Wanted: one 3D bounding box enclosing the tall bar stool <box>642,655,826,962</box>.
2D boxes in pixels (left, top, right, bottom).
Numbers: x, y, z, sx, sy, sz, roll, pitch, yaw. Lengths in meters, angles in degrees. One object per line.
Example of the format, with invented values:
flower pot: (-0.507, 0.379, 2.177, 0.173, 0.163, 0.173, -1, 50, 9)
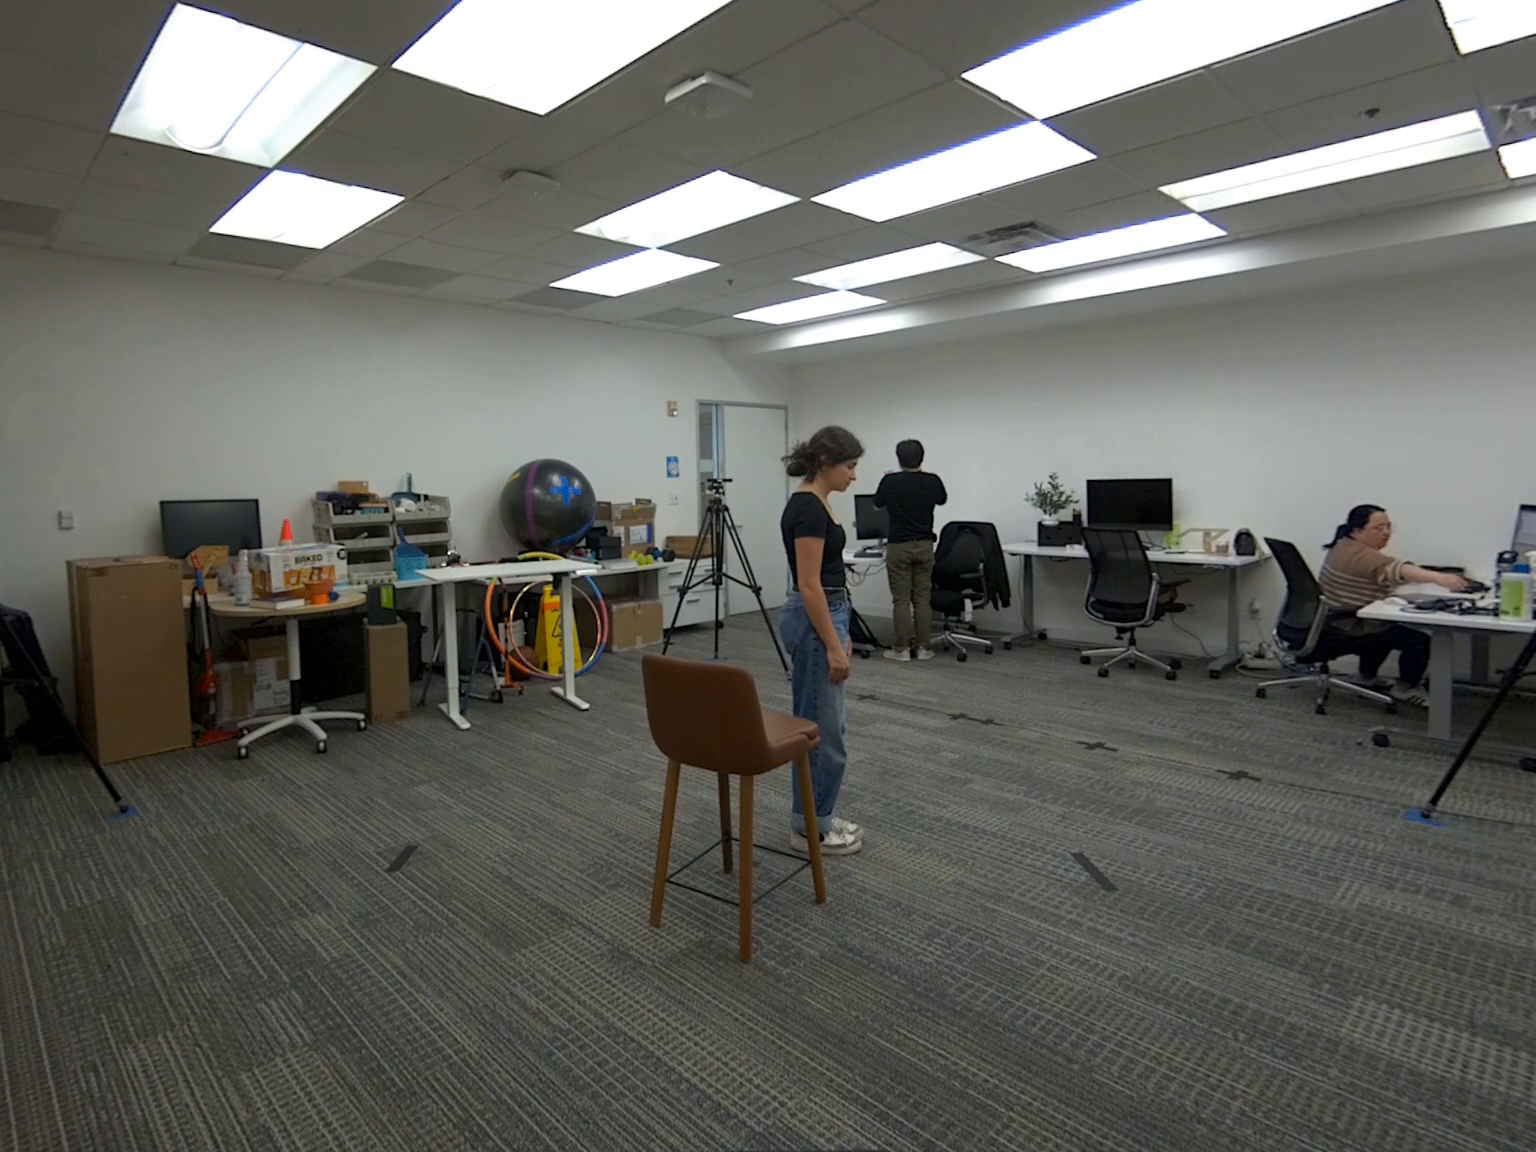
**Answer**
tall bar stool: (-0.107, 0.656, 2.725, 0.470, 0.885, 0.457, 2, 7, 35)
